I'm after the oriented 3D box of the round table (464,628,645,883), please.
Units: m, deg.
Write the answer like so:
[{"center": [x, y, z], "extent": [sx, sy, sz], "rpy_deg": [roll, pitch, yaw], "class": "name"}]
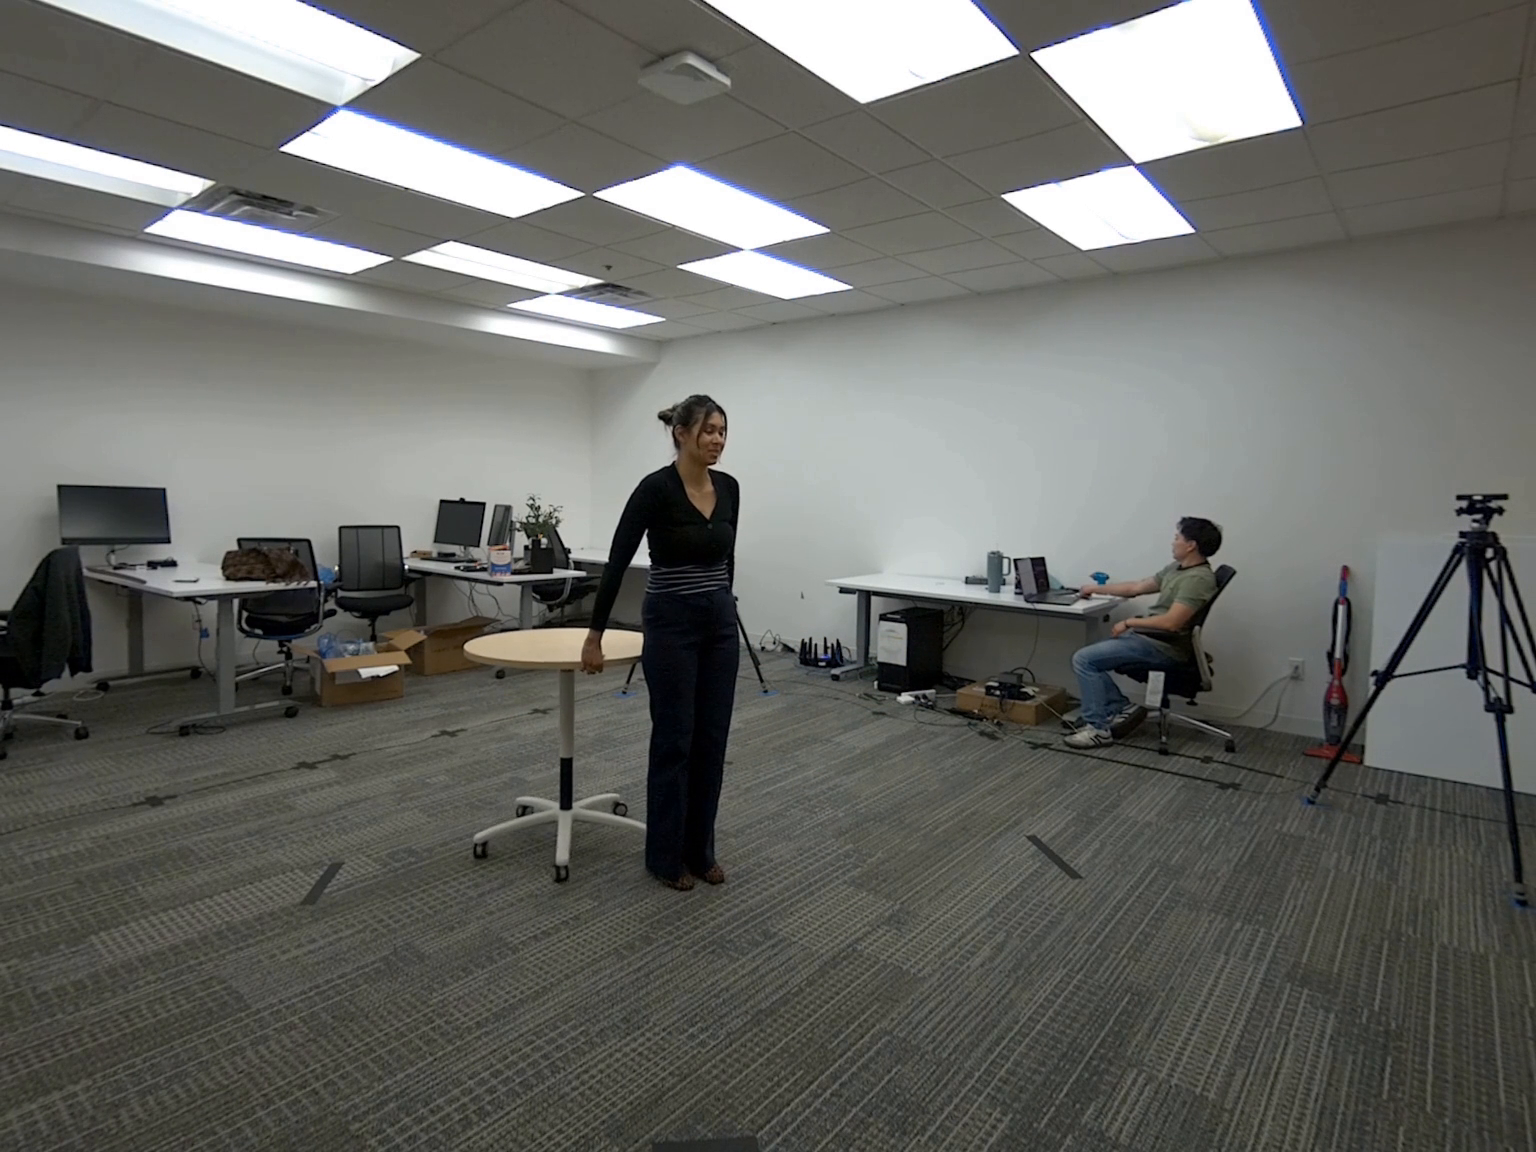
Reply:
[{"center": [-0.792, 0.652, 3.284], "extent": [0.763, 0.792, 0.767], "rpy_deg": [1, 4, -2], "class": "round table"}]
